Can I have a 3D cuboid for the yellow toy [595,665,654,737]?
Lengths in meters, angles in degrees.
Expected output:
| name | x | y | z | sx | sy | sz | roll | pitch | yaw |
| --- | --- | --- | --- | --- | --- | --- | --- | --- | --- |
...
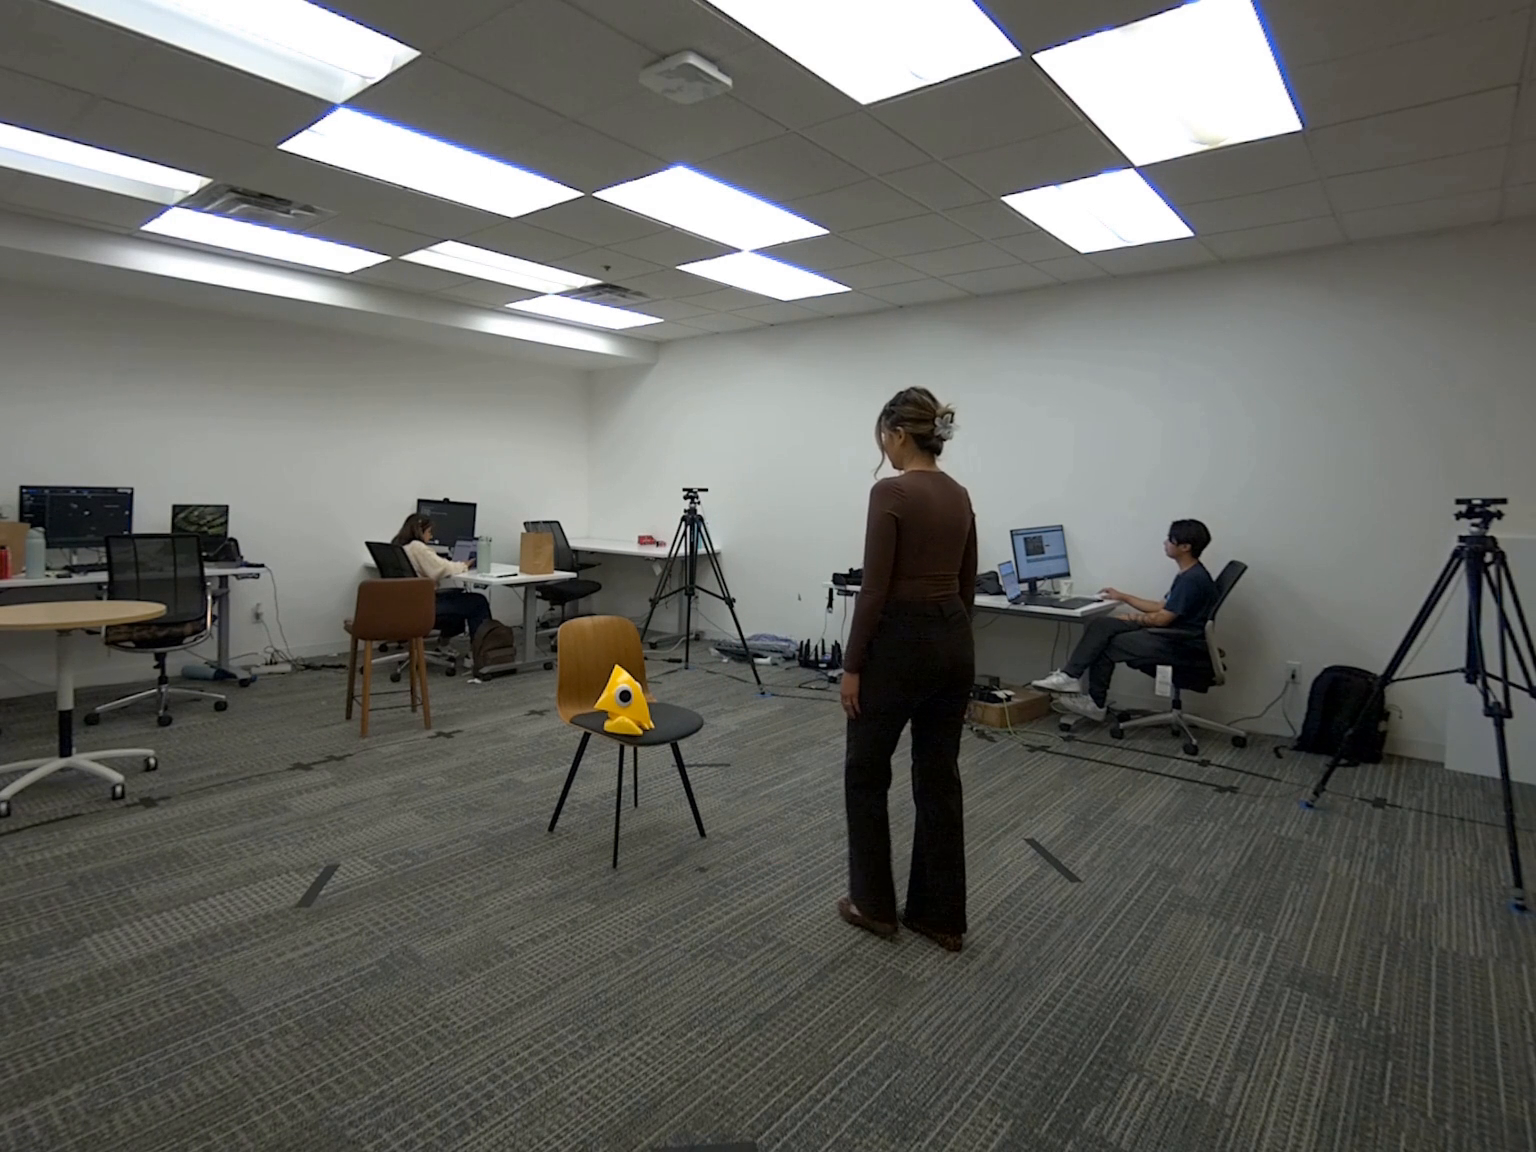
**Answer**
| name | x | y | z | sx | sy | sz | roll | pitch | yaw |
| --- | --- | --- | --- | --- | --- | --- | --- | --- | --- |
| yellow toy | -0.536 | 0.457 | 3.186 | 0.196 | 0.231 | 0.201 | 4 | 0 | 15 |
